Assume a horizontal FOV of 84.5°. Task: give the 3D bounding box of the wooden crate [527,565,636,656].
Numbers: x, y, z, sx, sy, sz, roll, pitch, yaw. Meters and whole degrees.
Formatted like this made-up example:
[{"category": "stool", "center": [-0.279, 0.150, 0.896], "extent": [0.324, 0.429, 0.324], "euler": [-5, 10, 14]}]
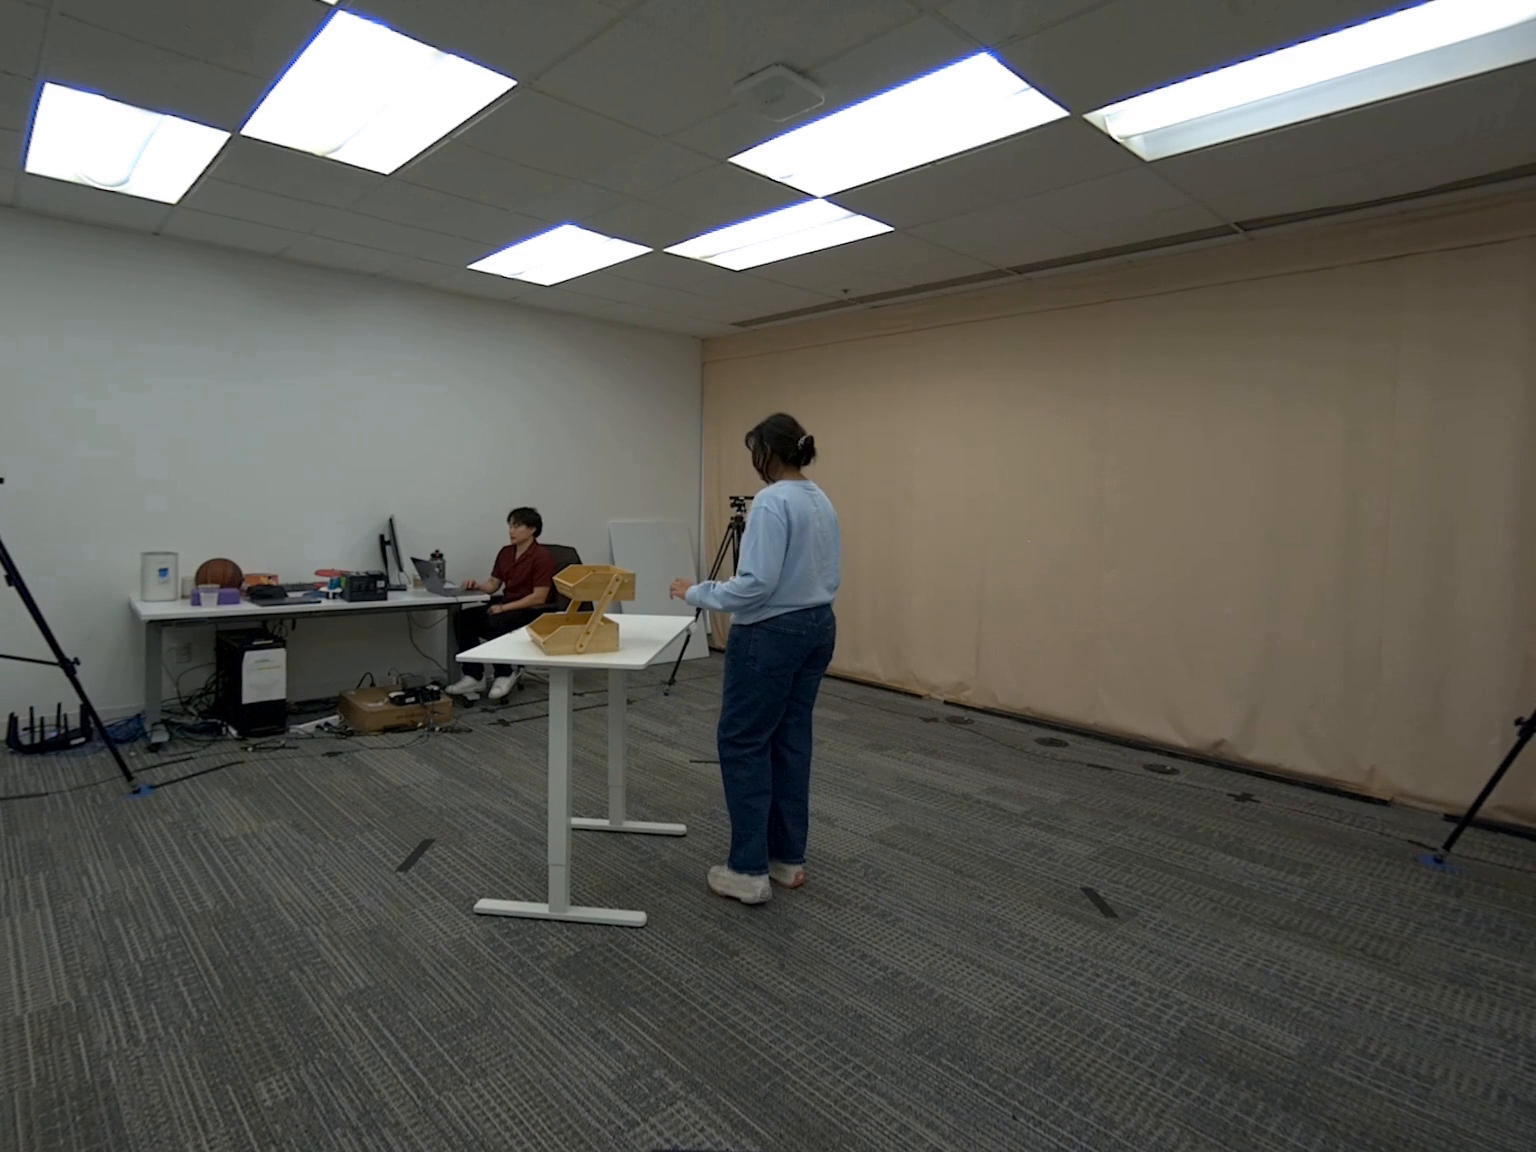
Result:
[{"category": "wooden crate", "center": [-0.647, 0.107, 2.833], "extent": [0.297, 0.273, 0.331], "euler": [0, 4, -25]}]
